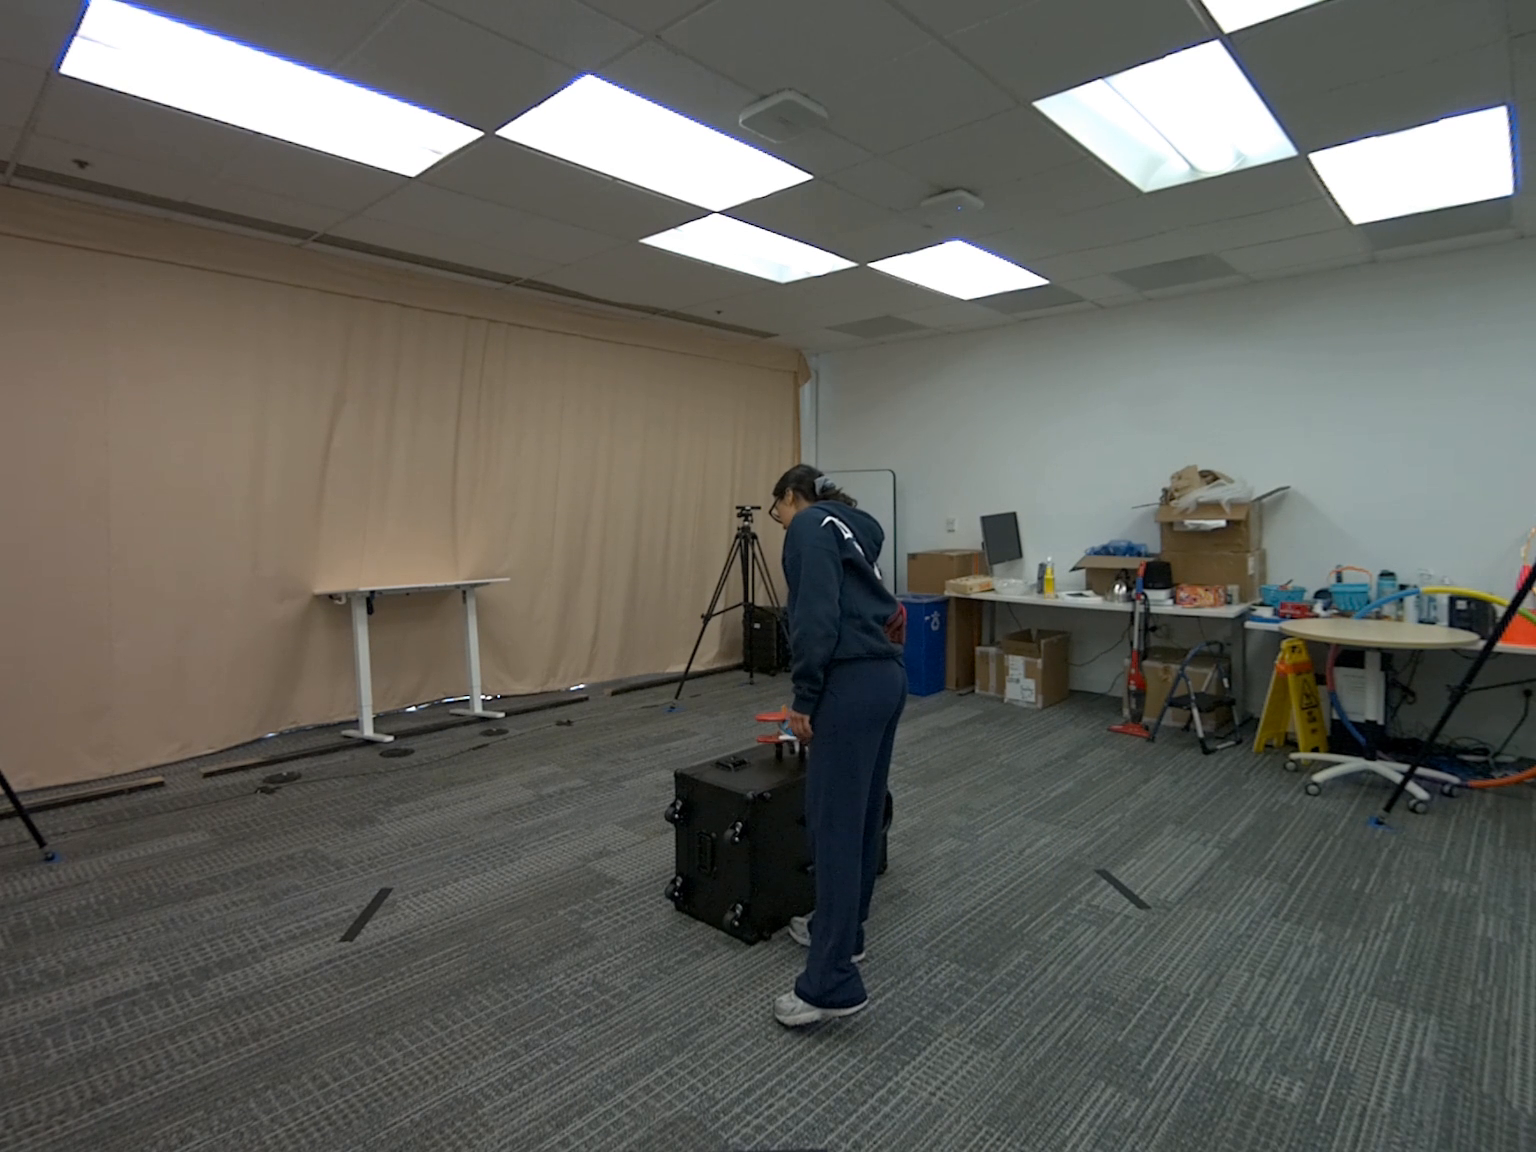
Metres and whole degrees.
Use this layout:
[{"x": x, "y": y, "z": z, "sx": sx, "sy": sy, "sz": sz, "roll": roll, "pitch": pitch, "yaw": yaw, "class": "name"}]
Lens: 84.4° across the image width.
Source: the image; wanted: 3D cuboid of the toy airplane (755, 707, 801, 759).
[{"x": 0.122, "y": 0.549, "z": 3.000, "sx": 0.243, "sy": 0.158, "sz": 0.264, "roll": 5, "pitch": -15, "yaw": -32, "class": "toy airplane"}]
